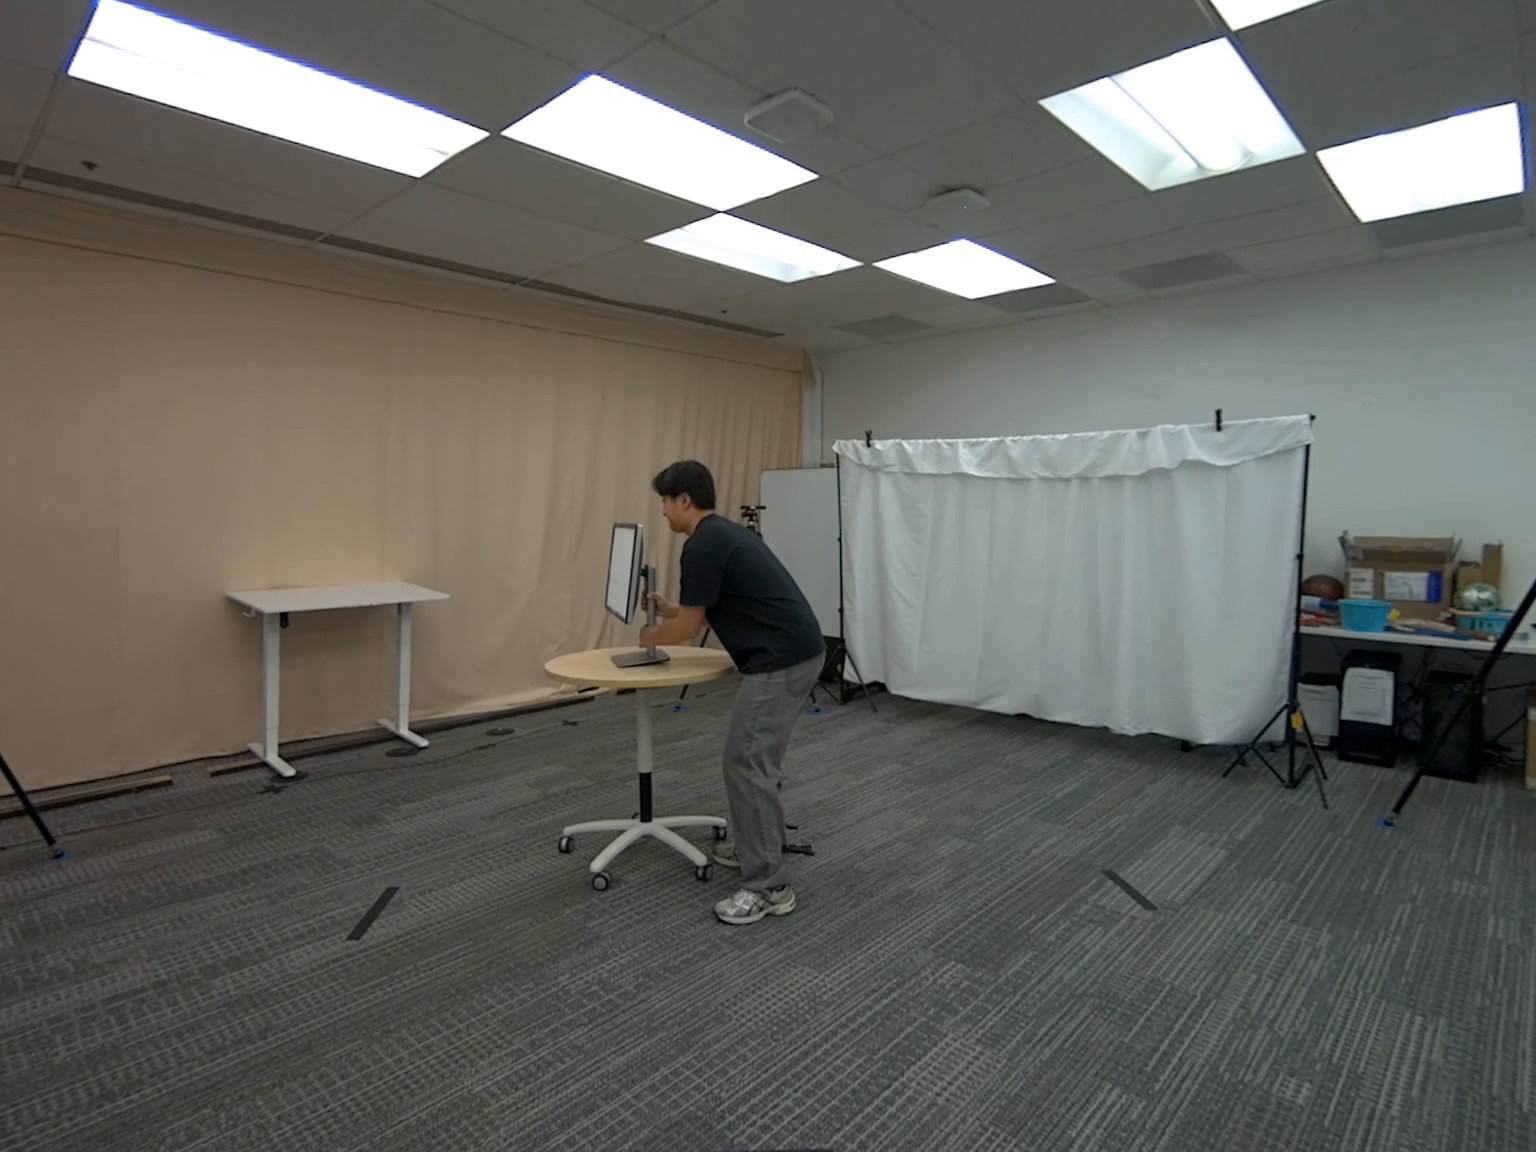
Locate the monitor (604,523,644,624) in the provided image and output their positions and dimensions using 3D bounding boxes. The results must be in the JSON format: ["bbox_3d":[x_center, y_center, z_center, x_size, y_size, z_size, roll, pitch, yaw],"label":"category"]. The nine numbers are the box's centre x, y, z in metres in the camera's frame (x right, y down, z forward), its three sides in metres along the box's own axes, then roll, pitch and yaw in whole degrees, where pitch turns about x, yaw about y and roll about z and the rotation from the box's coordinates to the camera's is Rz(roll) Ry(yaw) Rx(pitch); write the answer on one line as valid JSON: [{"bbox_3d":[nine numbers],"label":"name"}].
[{"bbox_3d":[-0.536,0.072,3.324,0.219,0.564,0.571,-8,5,-15],"label":"monitor"}]
